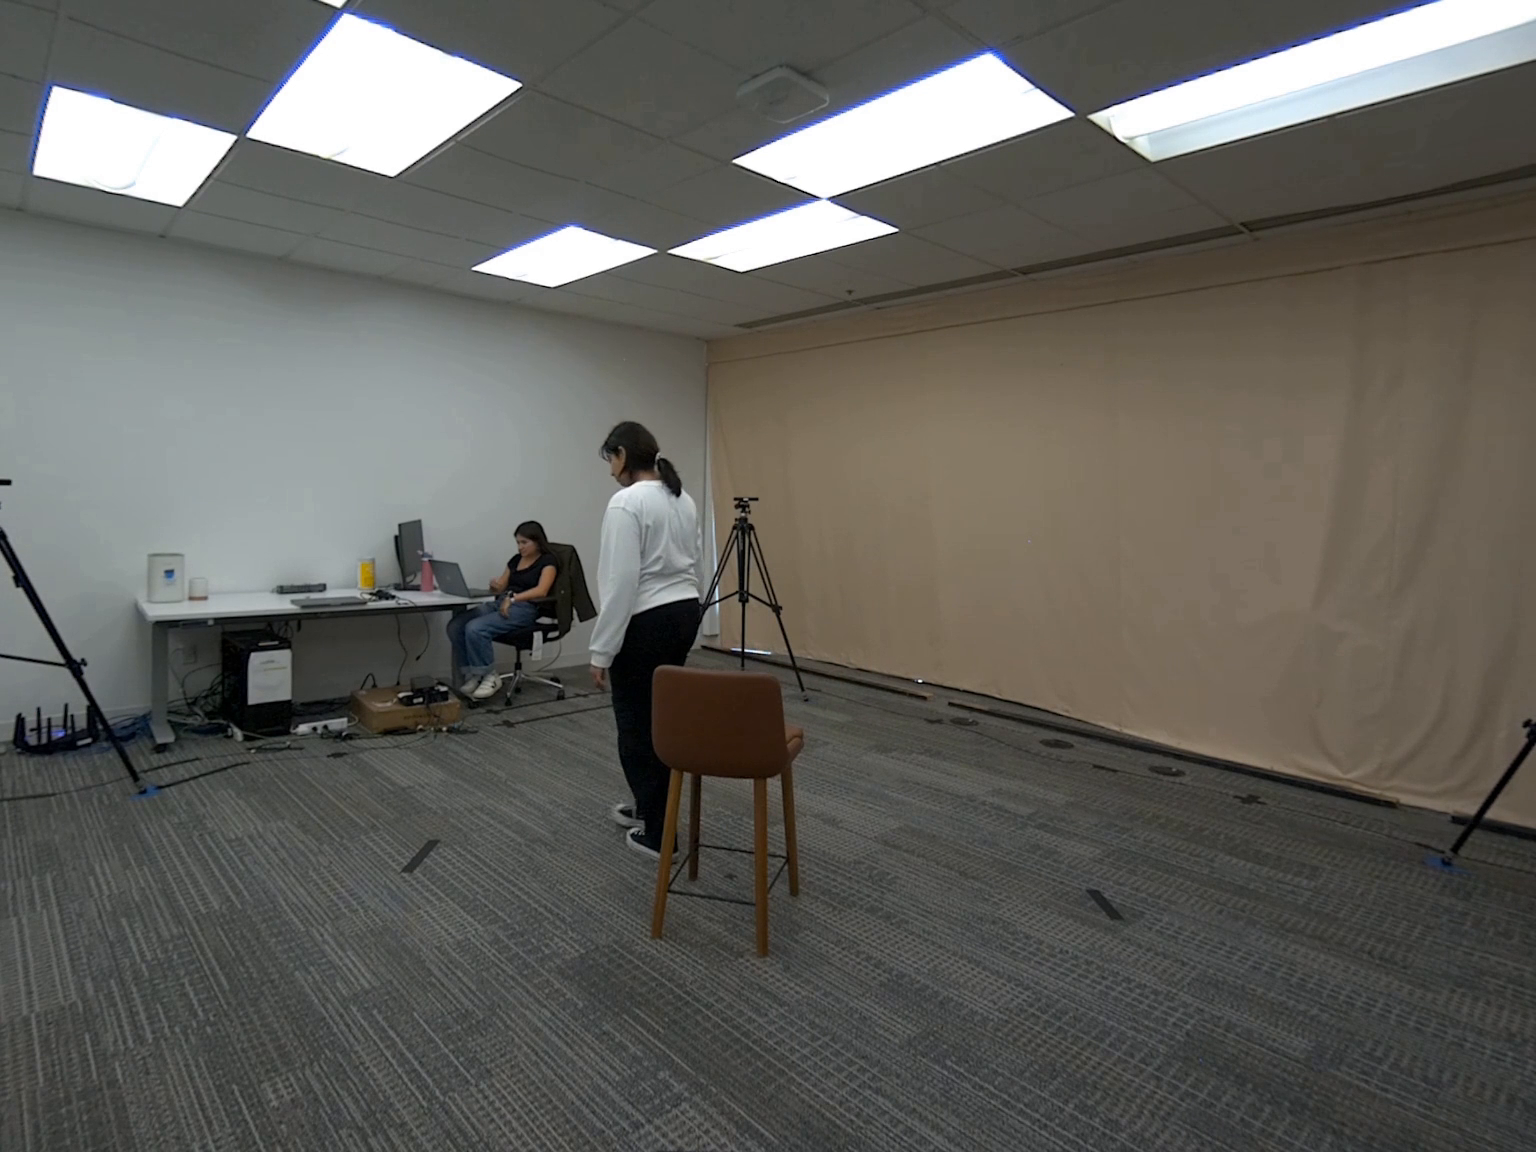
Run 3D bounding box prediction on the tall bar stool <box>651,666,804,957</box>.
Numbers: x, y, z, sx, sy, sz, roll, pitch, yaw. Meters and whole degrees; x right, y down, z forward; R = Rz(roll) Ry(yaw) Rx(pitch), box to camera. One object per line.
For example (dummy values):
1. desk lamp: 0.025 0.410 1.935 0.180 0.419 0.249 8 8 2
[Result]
1. tall bar stool: -0.133 0.703 2.787 0.462 0.886 0.463 2 6 15
